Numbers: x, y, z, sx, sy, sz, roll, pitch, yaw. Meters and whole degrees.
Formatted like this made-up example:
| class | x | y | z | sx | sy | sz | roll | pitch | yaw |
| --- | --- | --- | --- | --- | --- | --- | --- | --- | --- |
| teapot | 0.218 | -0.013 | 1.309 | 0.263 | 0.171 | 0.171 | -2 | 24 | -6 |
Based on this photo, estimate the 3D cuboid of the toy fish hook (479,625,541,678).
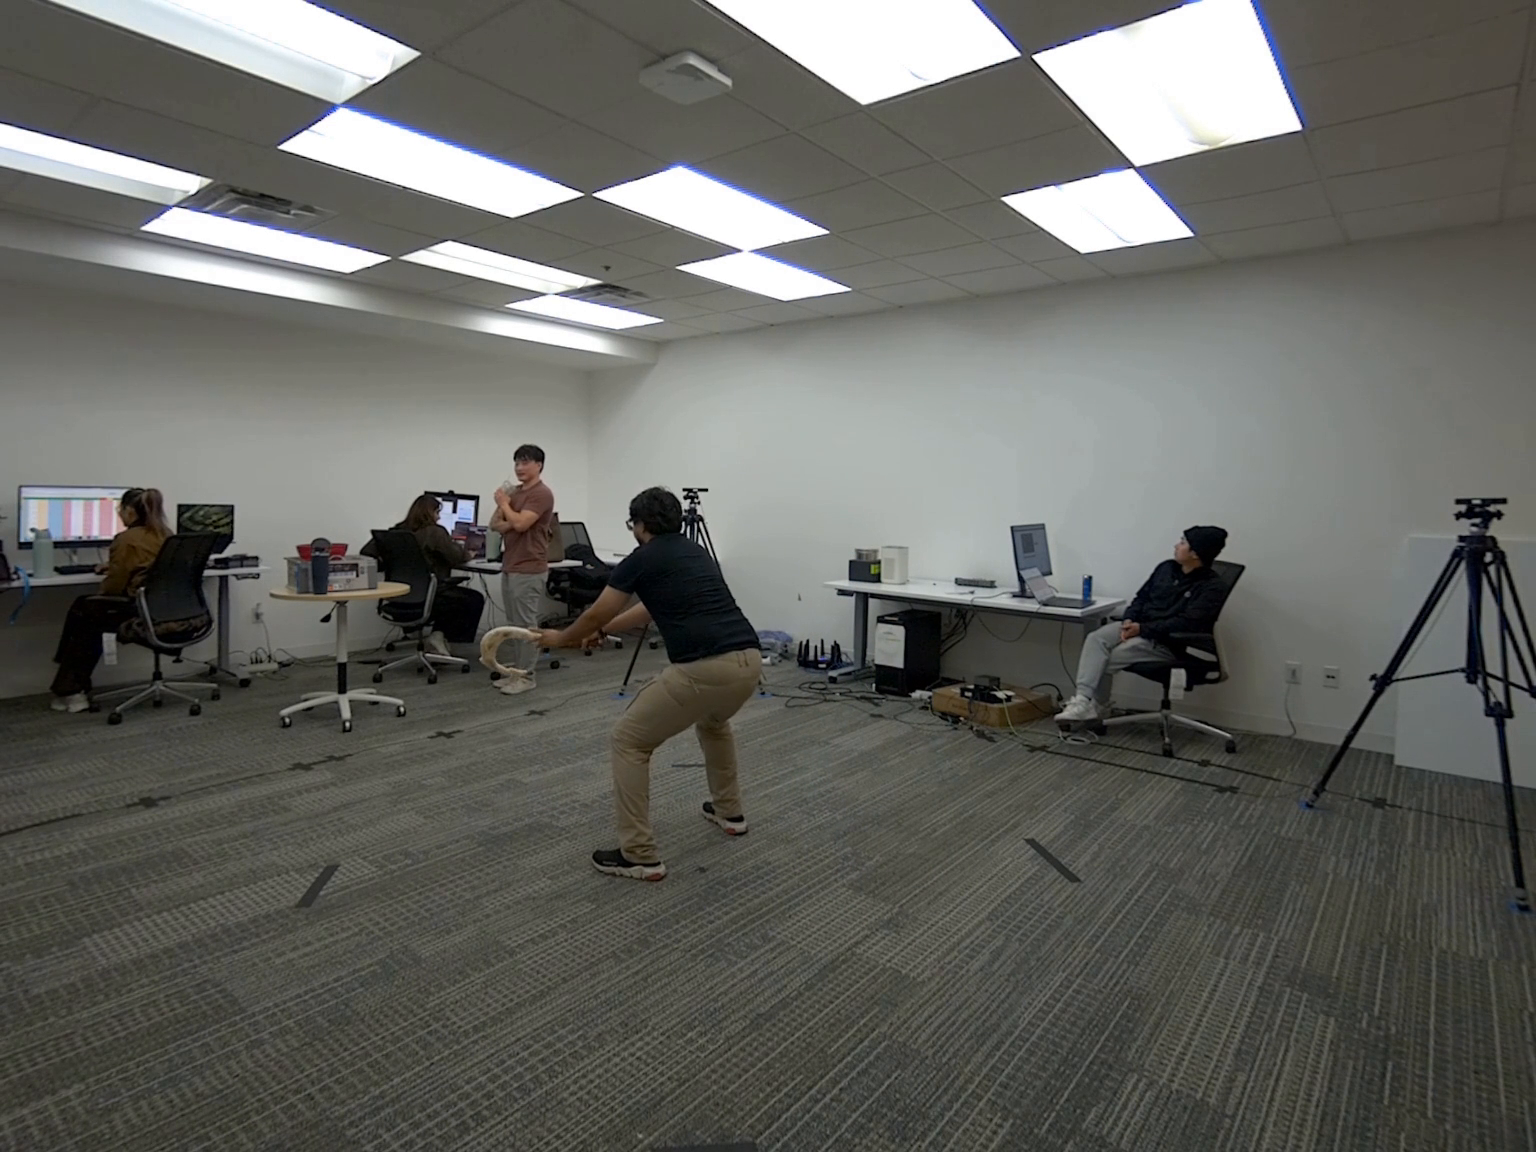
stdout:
| class | x | y | z | sx | sy | sz | roll | pitch | yaw |
| --- | --- | --- | --- | --- | --- | --- | --- | --- | --- |
| toy fish hook | -0.981 | 0.320 | 3.601 | 0.501 | 0.221 | 0.050 | 3 | 23 | -10 |
